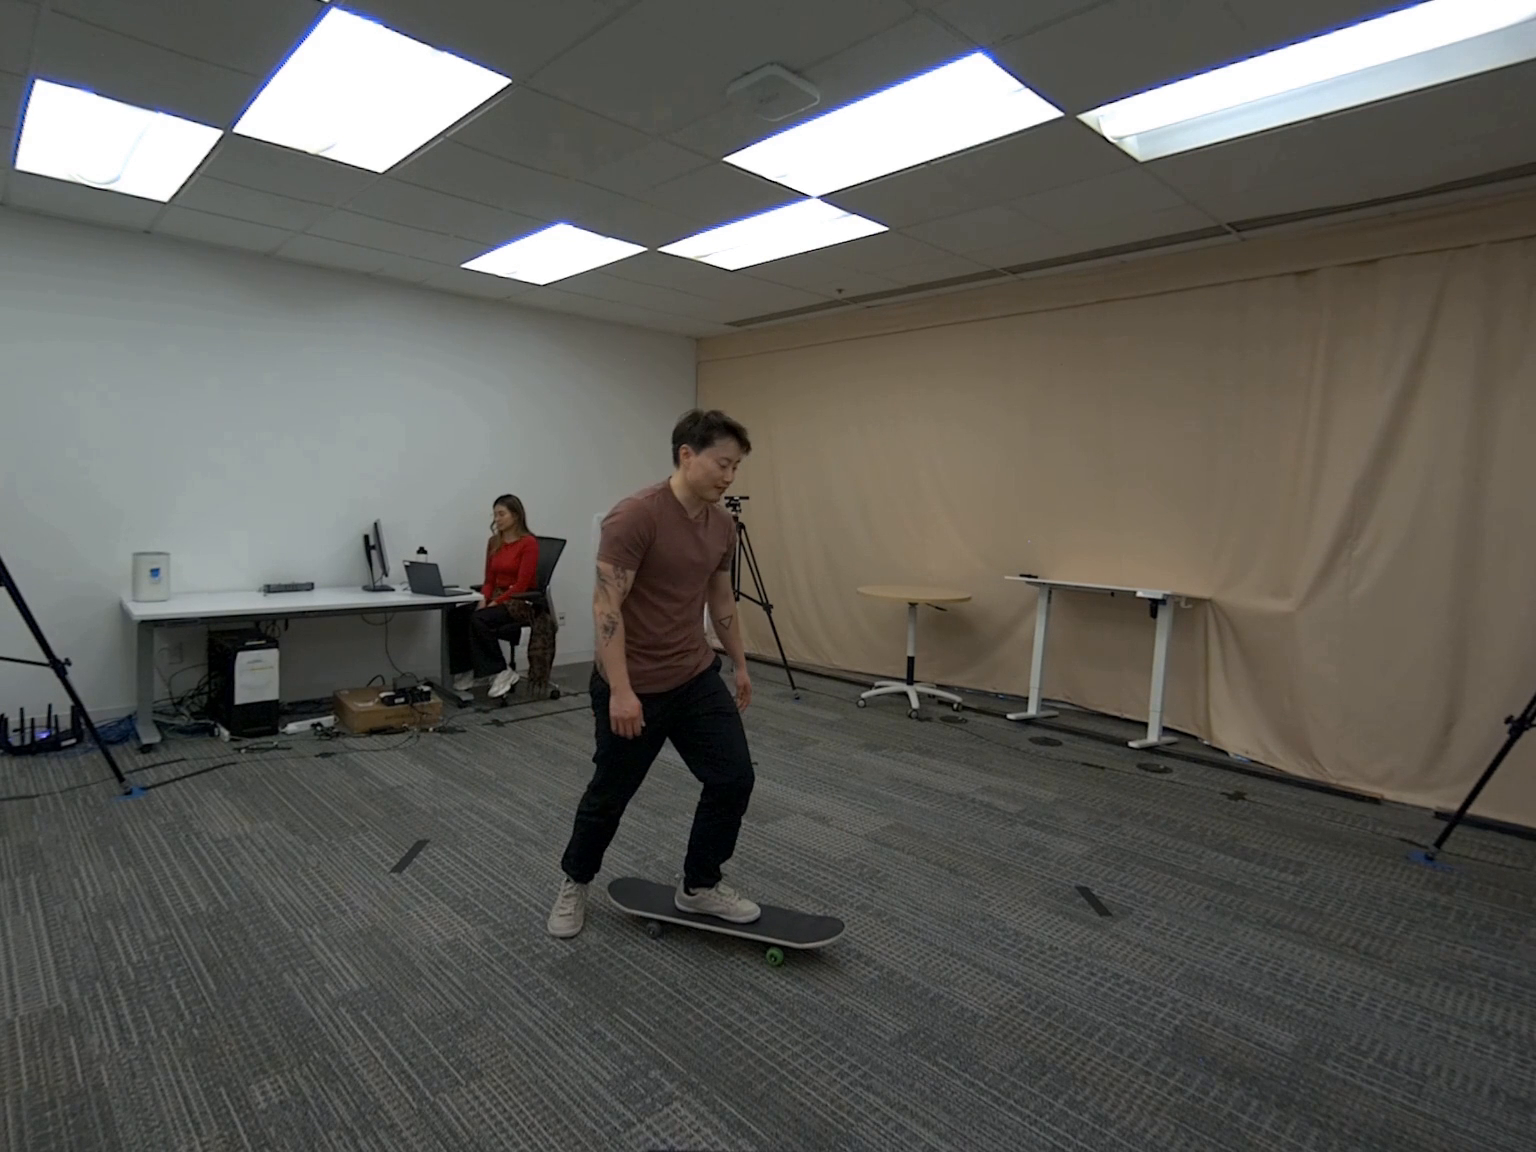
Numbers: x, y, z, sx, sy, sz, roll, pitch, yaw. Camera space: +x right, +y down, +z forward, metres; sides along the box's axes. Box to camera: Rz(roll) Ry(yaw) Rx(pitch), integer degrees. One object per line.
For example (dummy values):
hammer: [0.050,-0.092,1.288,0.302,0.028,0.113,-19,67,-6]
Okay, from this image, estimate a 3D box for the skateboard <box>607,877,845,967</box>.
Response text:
skateboard: [-0.155,1.092,2.647,0.798,0.110,0.191,3,6,20]
